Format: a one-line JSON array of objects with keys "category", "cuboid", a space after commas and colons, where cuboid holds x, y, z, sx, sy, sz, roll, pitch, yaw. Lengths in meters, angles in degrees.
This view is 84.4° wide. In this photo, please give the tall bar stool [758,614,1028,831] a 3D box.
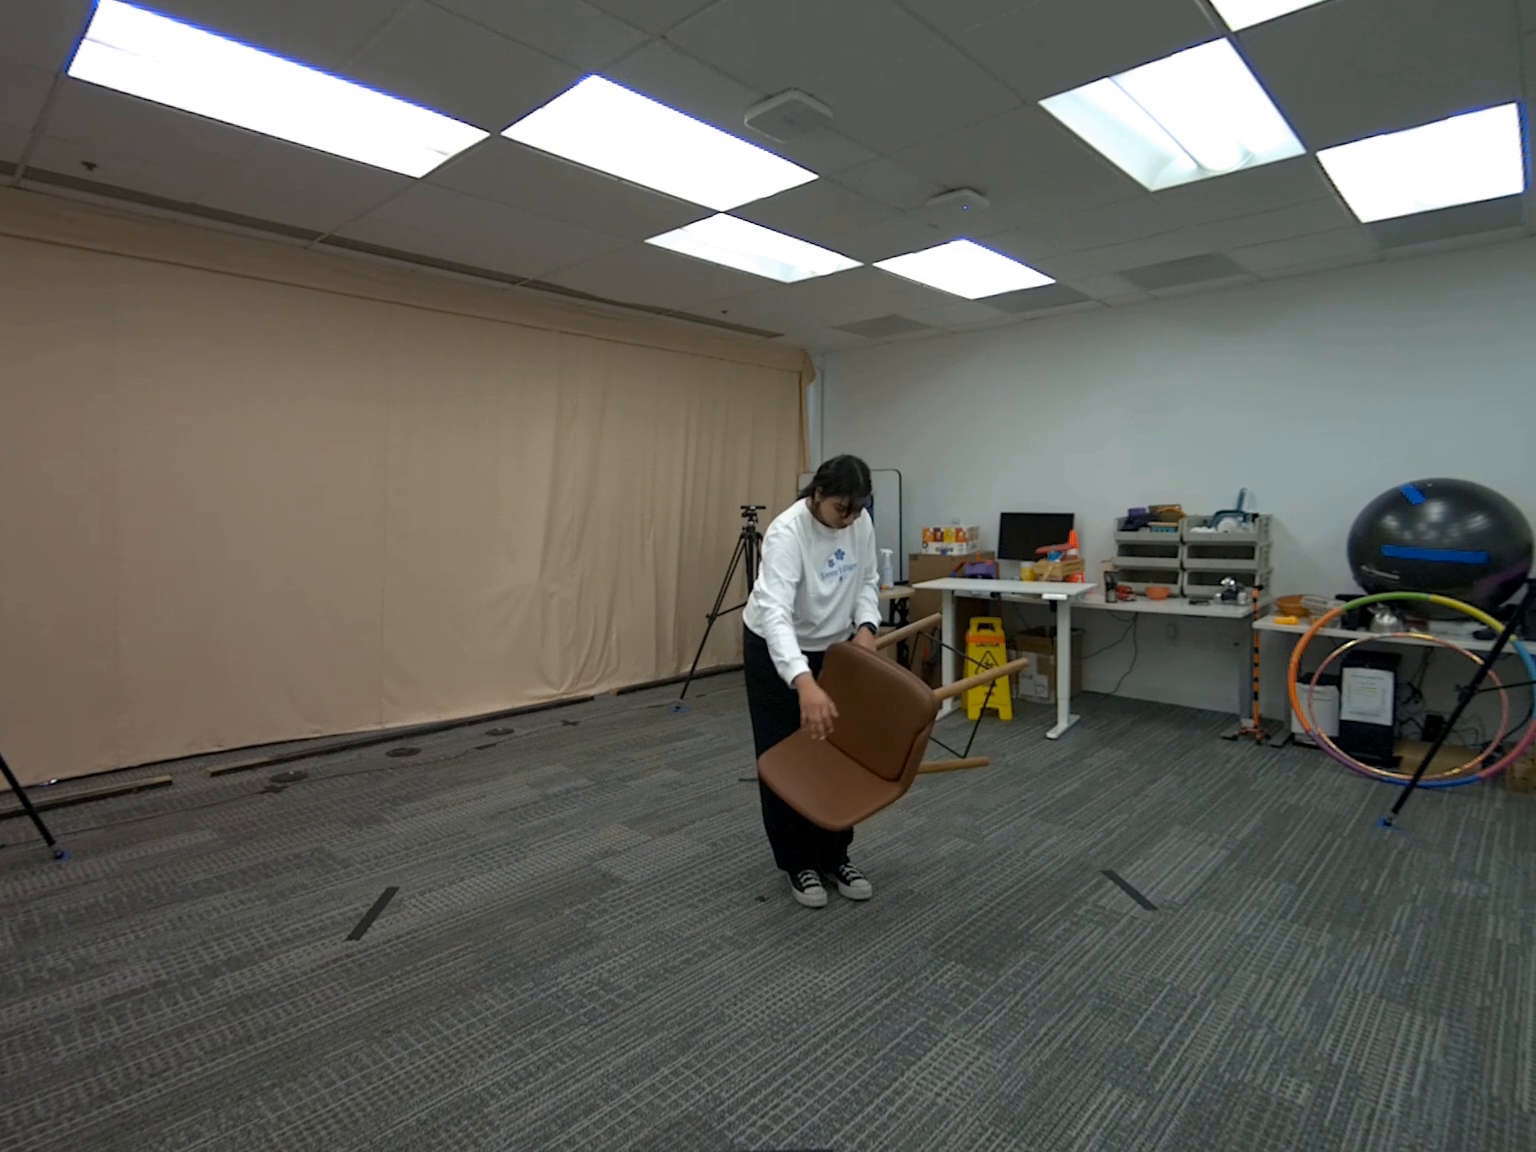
[{"category": "tall bar stool", "cuboid": [0.442, 0.479, 2.898, 0.864, 0.464, 0.473, -9, 28, -42]}]
